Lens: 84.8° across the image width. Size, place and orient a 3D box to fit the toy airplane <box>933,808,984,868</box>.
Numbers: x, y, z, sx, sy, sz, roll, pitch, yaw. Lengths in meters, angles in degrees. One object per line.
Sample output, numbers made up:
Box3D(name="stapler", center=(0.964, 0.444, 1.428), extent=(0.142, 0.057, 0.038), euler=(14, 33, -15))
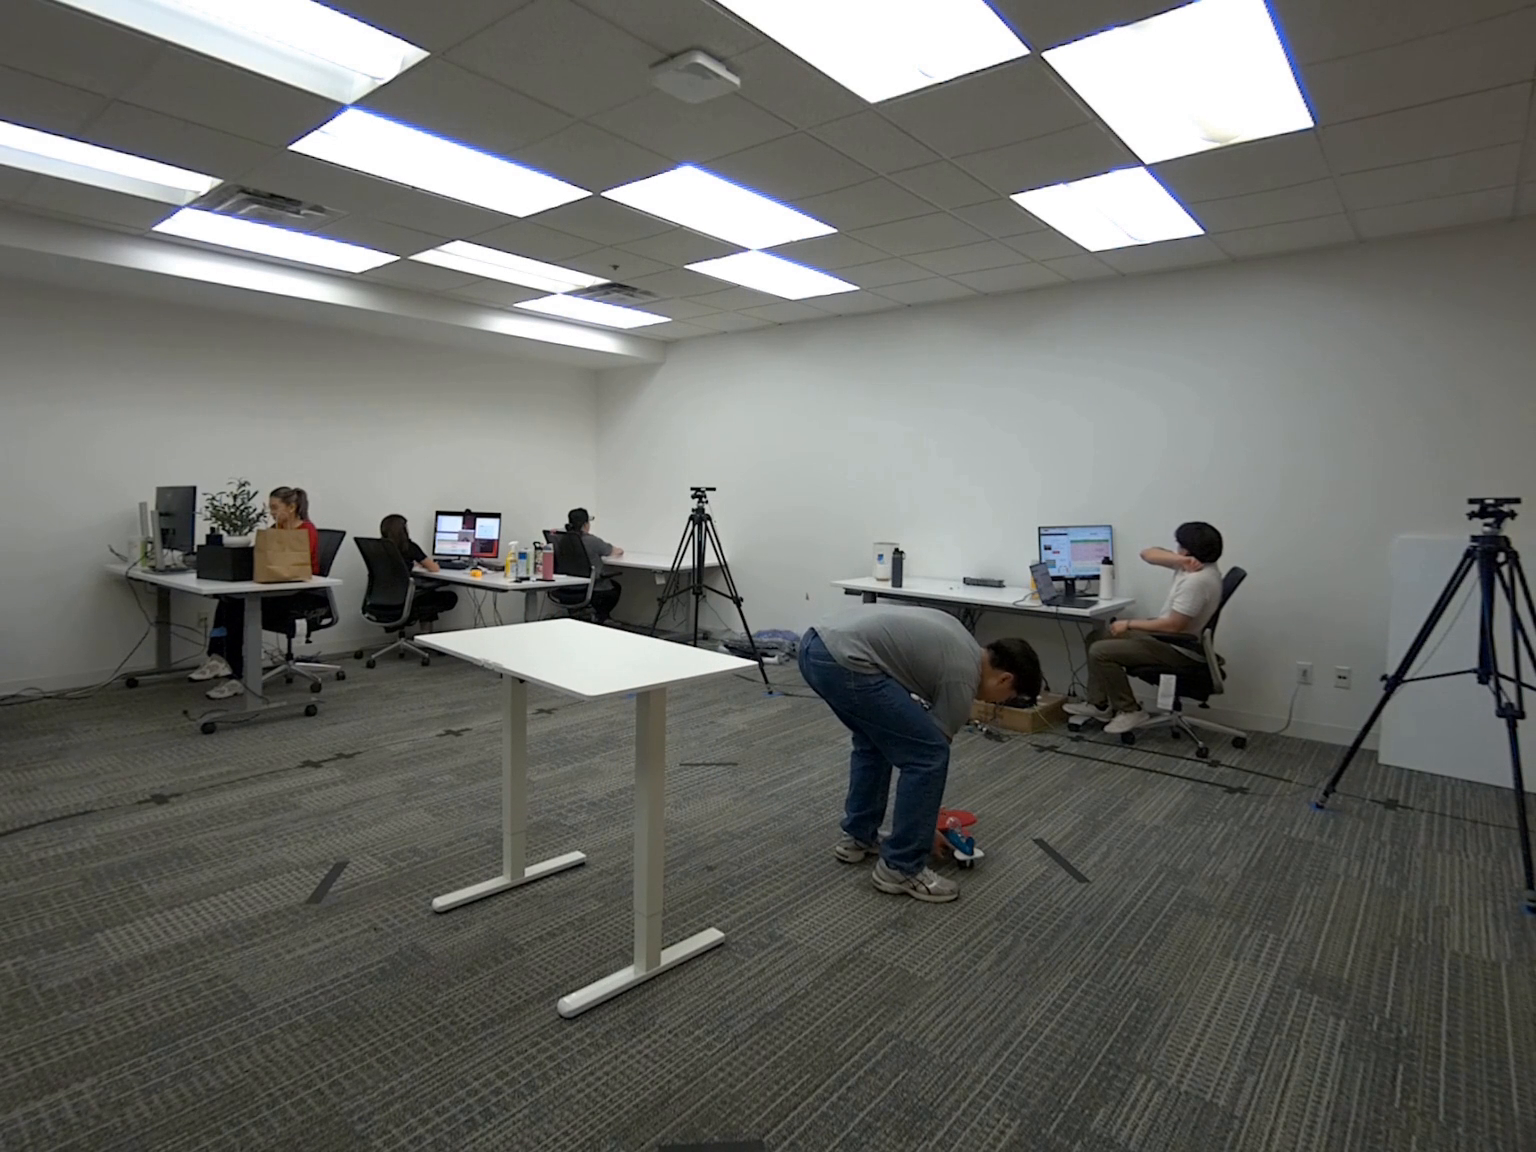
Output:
Box3D(name="toy airplane", center=(0.711, 1.006, 3.249), extent=(0.268, 0.156, 0.244), euler=(6, 7, 36))
